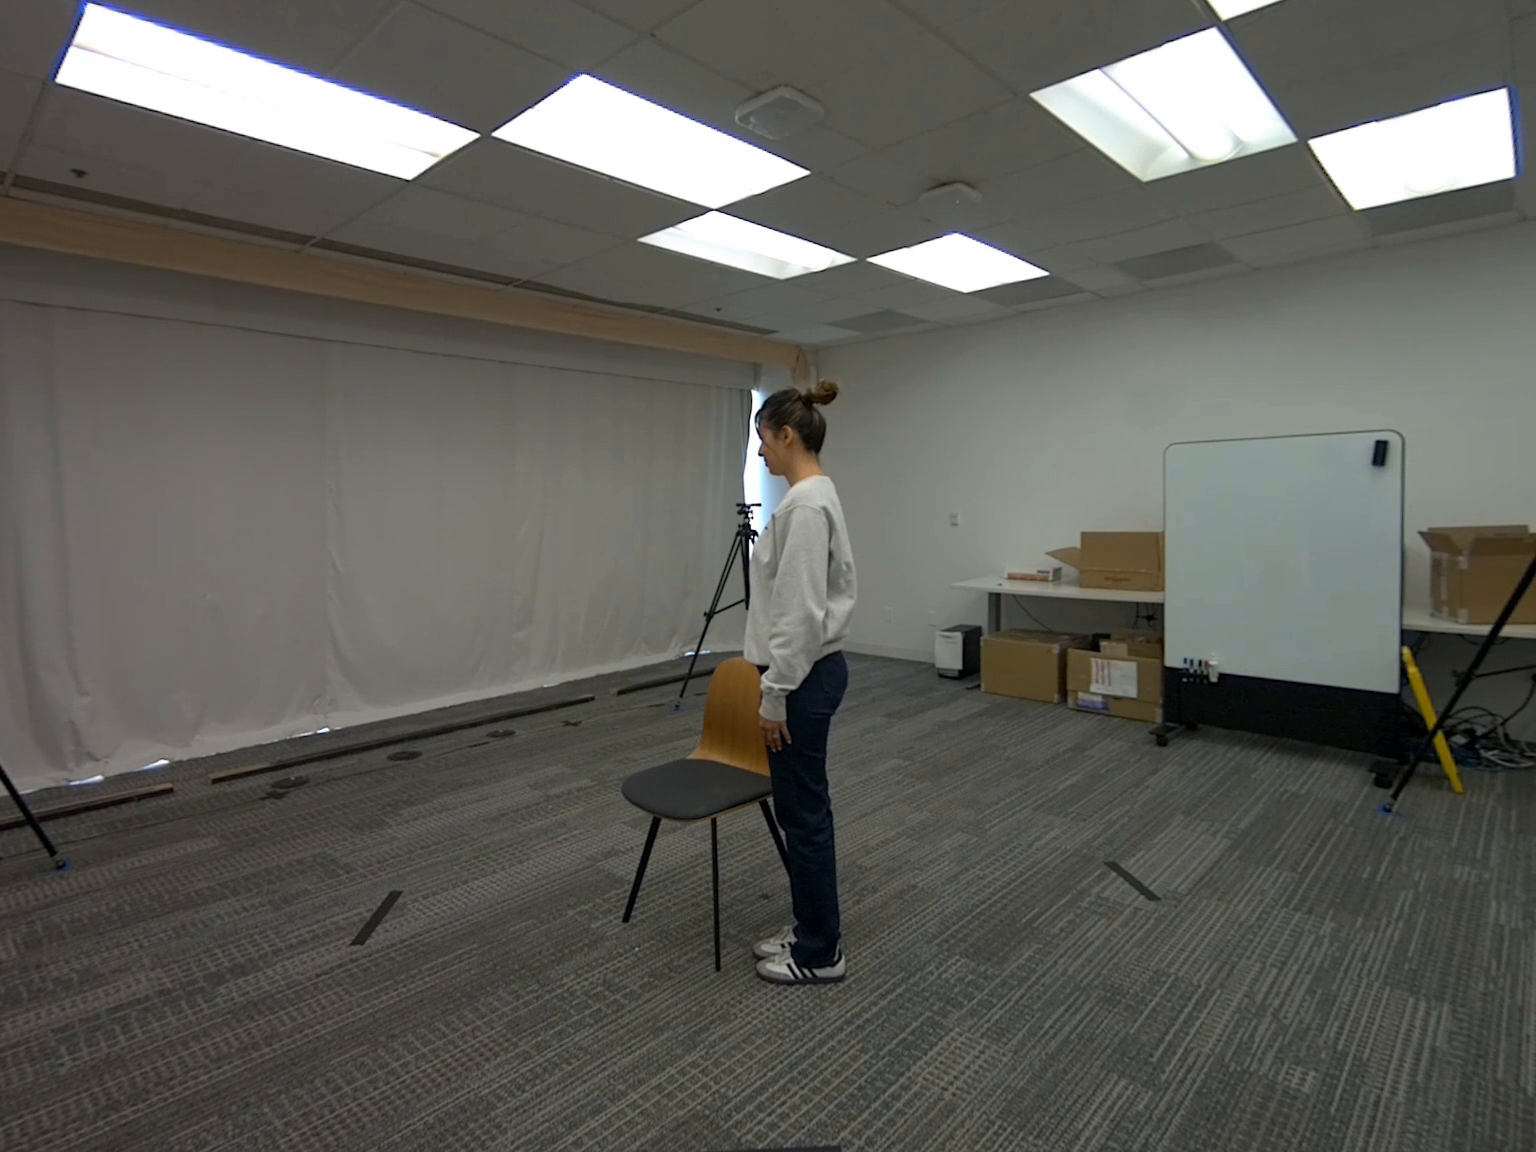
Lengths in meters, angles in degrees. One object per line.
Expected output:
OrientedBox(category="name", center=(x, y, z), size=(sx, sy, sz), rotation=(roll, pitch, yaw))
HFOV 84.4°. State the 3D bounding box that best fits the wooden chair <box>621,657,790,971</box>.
OrientedBox(category="wooden chair", center=(-0.182, 0.730, 2.793), size=(0.494, 0.877, 0.506), rotation=(3, 1, 43))
